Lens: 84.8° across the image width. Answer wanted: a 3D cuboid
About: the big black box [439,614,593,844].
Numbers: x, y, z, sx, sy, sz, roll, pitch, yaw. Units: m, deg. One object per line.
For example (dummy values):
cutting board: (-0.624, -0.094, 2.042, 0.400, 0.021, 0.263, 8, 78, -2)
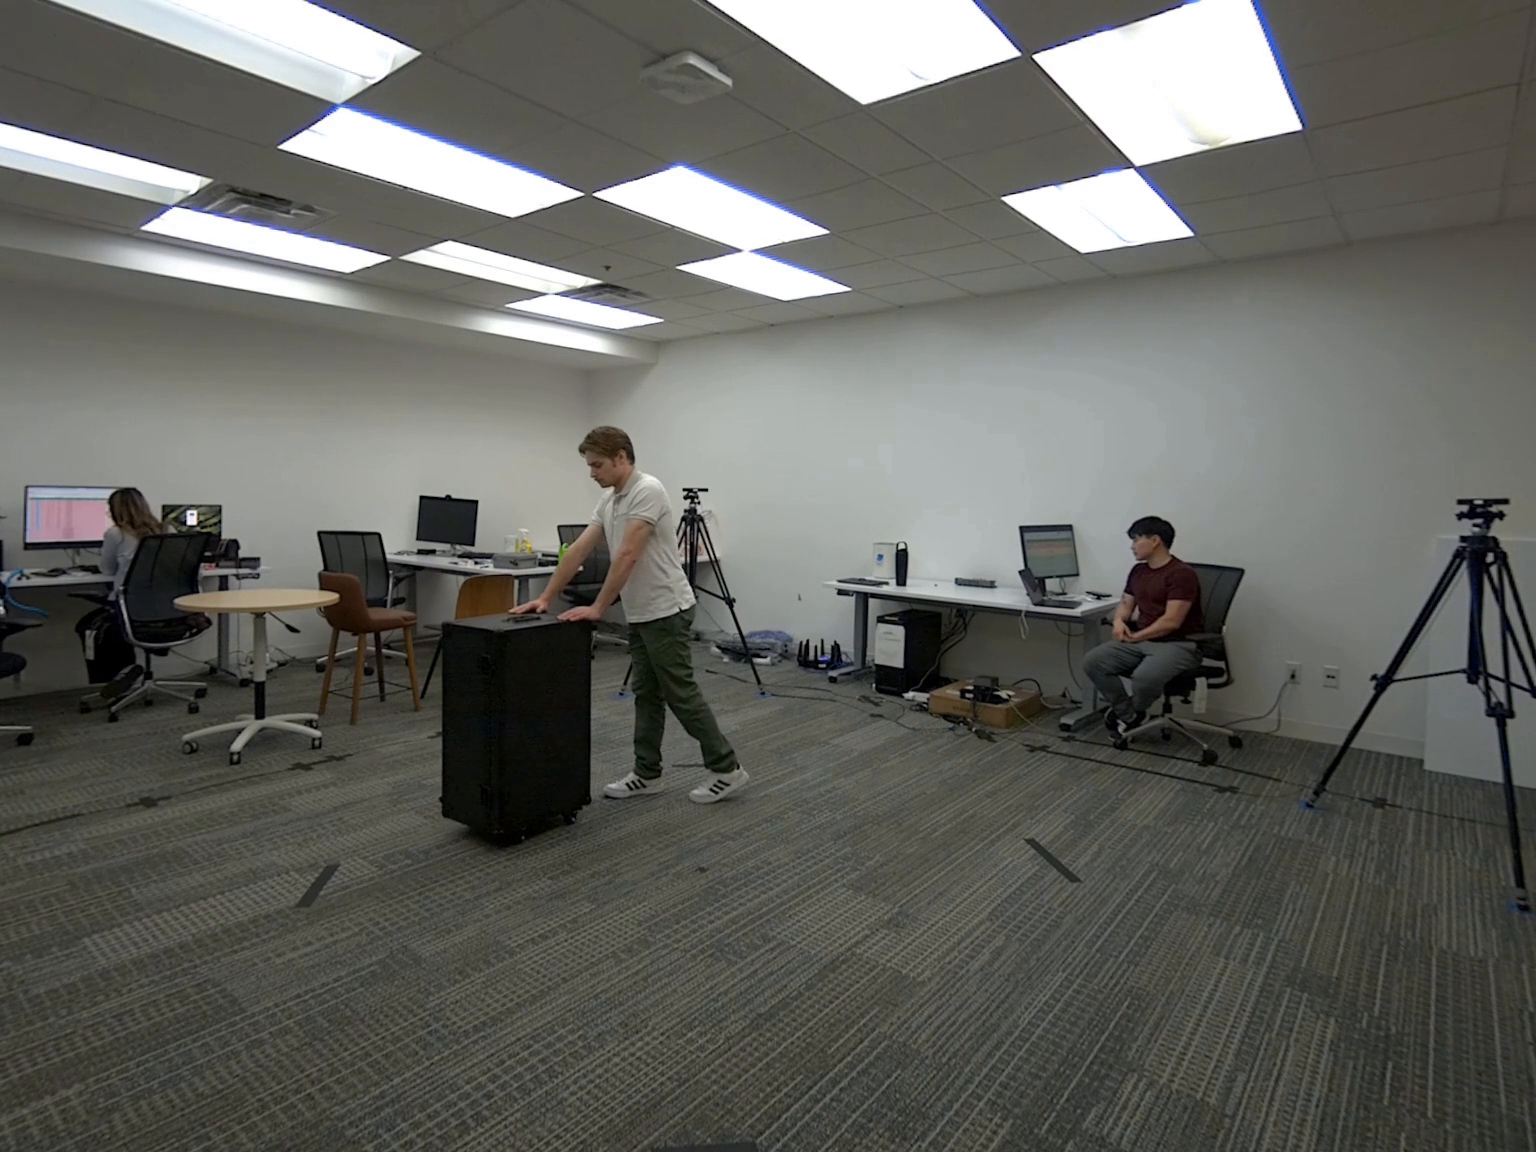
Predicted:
big black box: (-1.035, 0.601, 3.451, 0.397, 0.867, 0.508, 3, 3, 35)
